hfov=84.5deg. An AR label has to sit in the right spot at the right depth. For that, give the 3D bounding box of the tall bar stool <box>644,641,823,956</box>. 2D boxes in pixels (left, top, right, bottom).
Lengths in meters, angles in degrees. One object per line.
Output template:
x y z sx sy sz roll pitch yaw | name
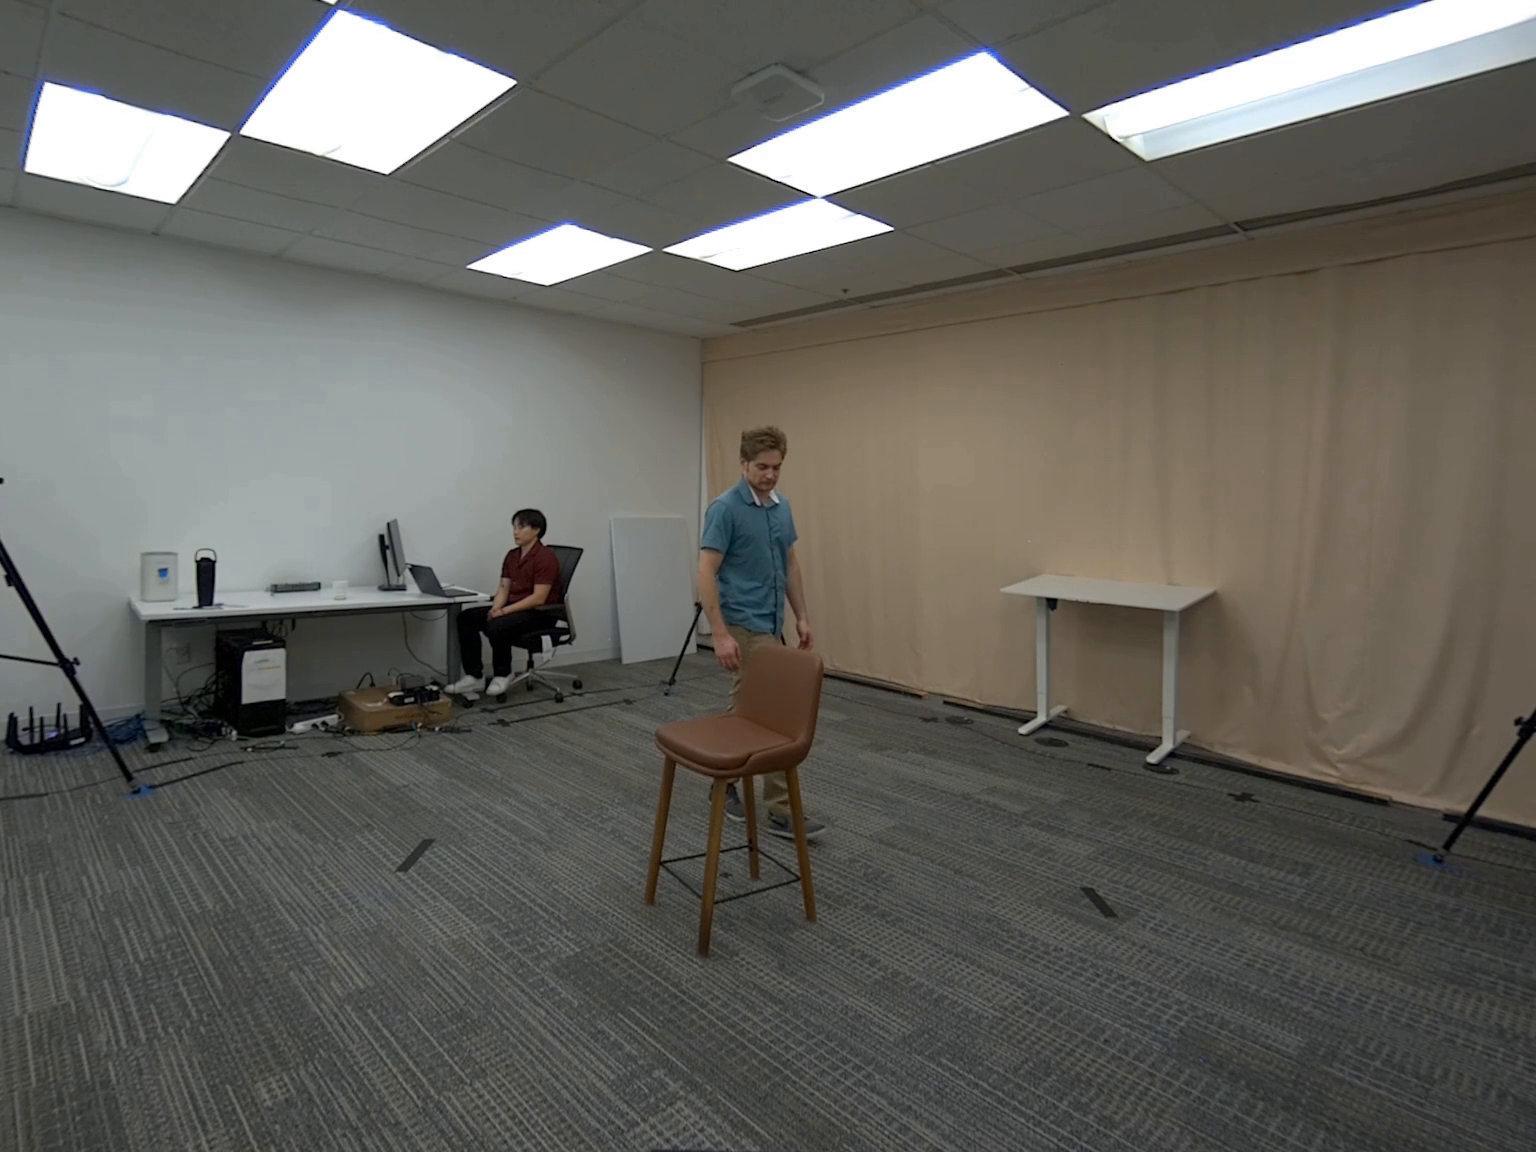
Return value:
-0.122 0.699 2.807 0.457 0.888 0.467 1 3 -33 | tall bar stool
